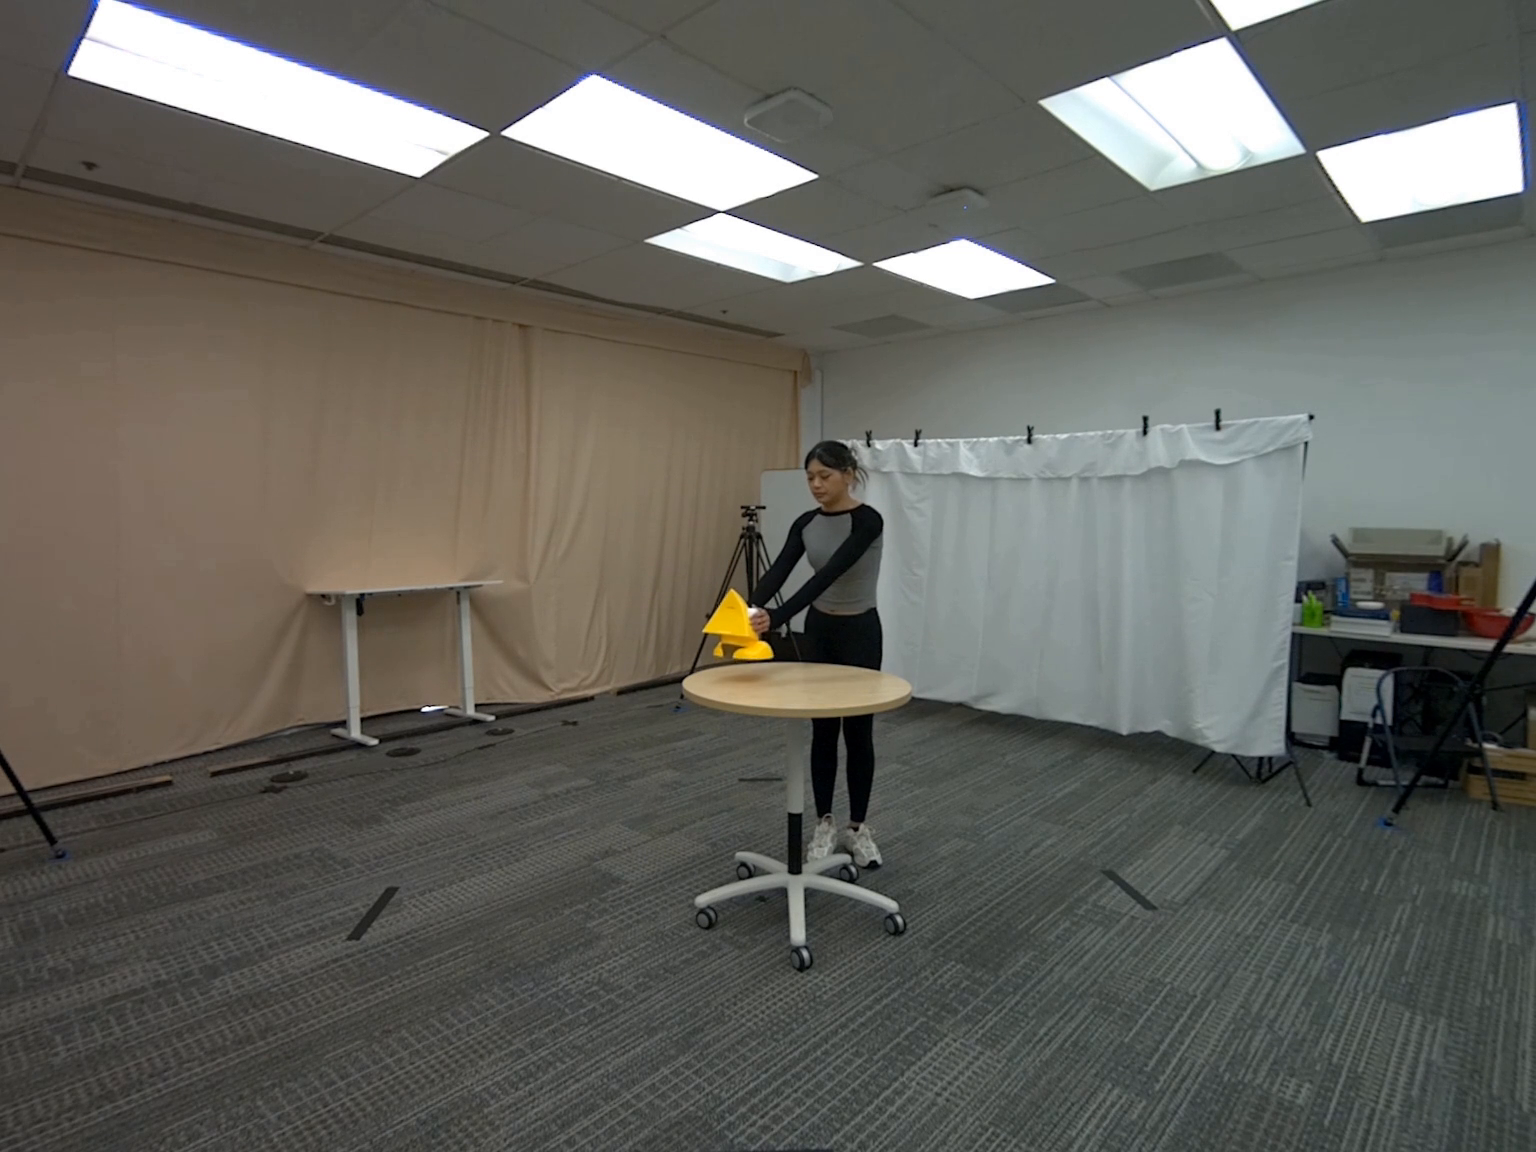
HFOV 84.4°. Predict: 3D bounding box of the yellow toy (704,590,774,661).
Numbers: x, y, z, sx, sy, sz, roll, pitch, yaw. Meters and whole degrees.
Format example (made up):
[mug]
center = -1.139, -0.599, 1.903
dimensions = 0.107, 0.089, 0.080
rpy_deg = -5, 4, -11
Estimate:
[yellow toy]
center = -0.075, 0.162, 2.889
dimensions = 0.211, 0.231, 0.187
rpy_deg = 1, -3, 40
